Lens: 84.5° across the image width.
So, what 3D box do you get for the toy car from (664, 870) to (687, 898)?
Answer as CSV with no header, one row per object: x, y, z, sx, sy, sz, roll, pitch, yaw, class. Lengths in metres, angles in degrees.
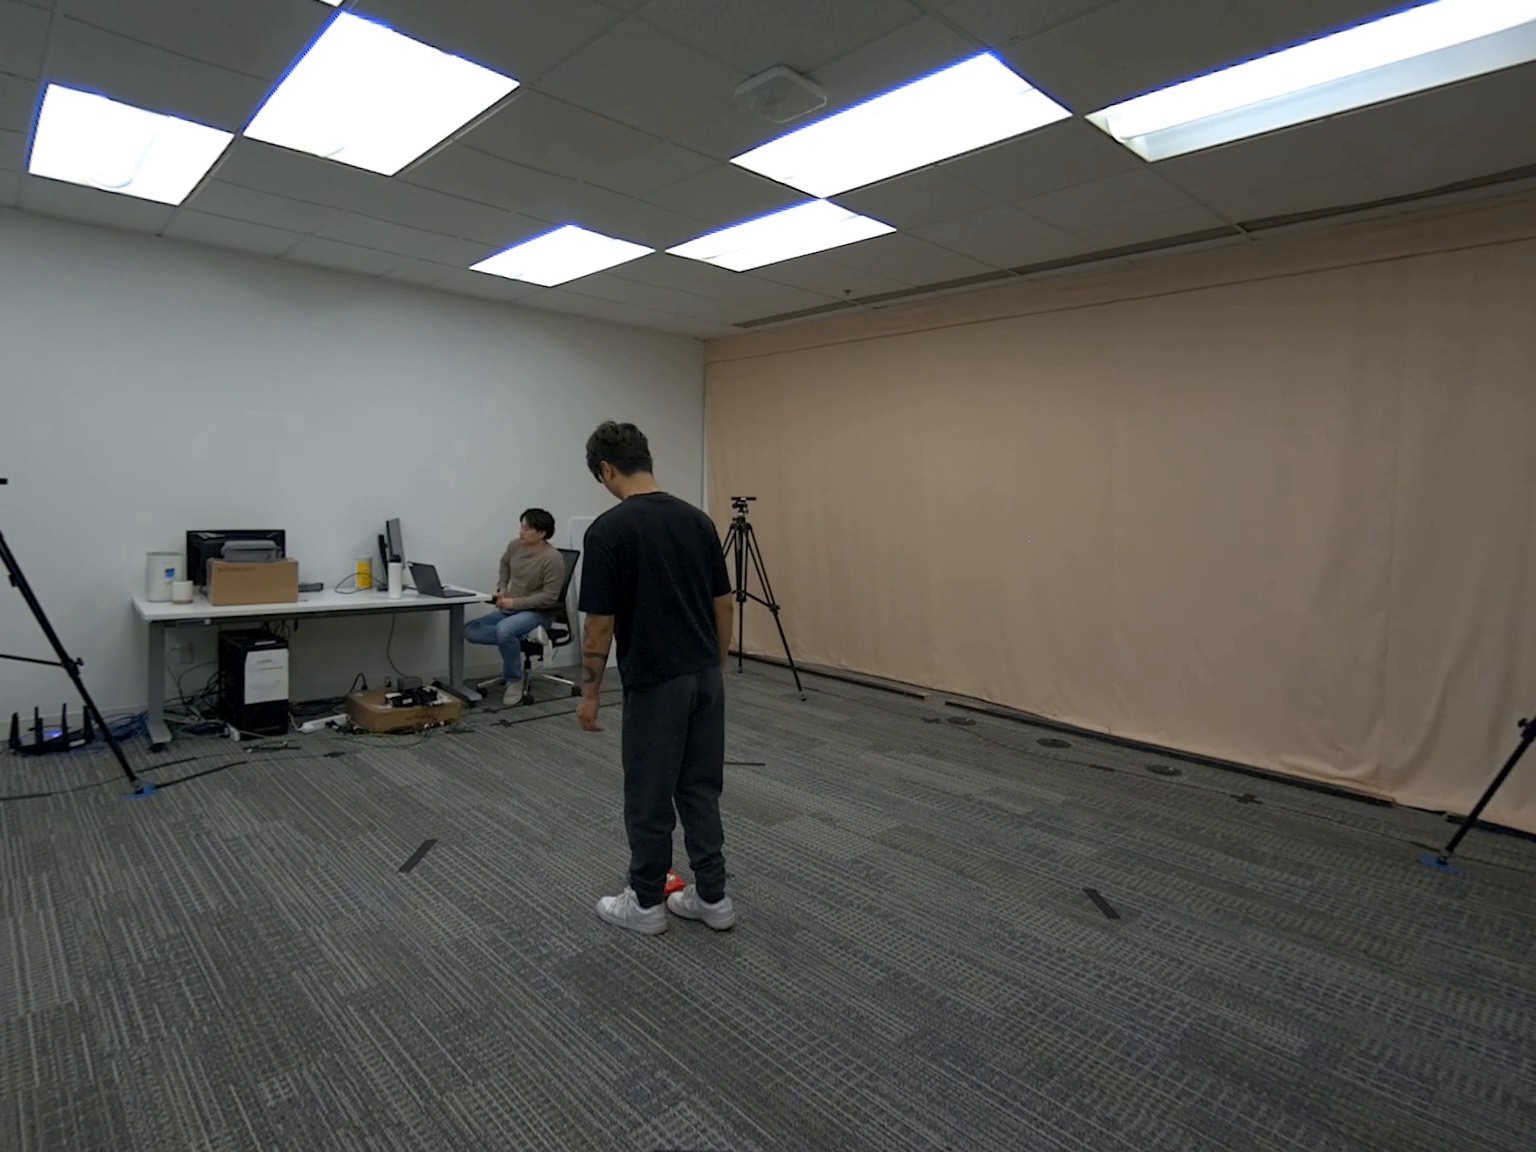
-0.399,1.084,2.990,0.127,0.083,0.259,-1,-5,-39,toy car
